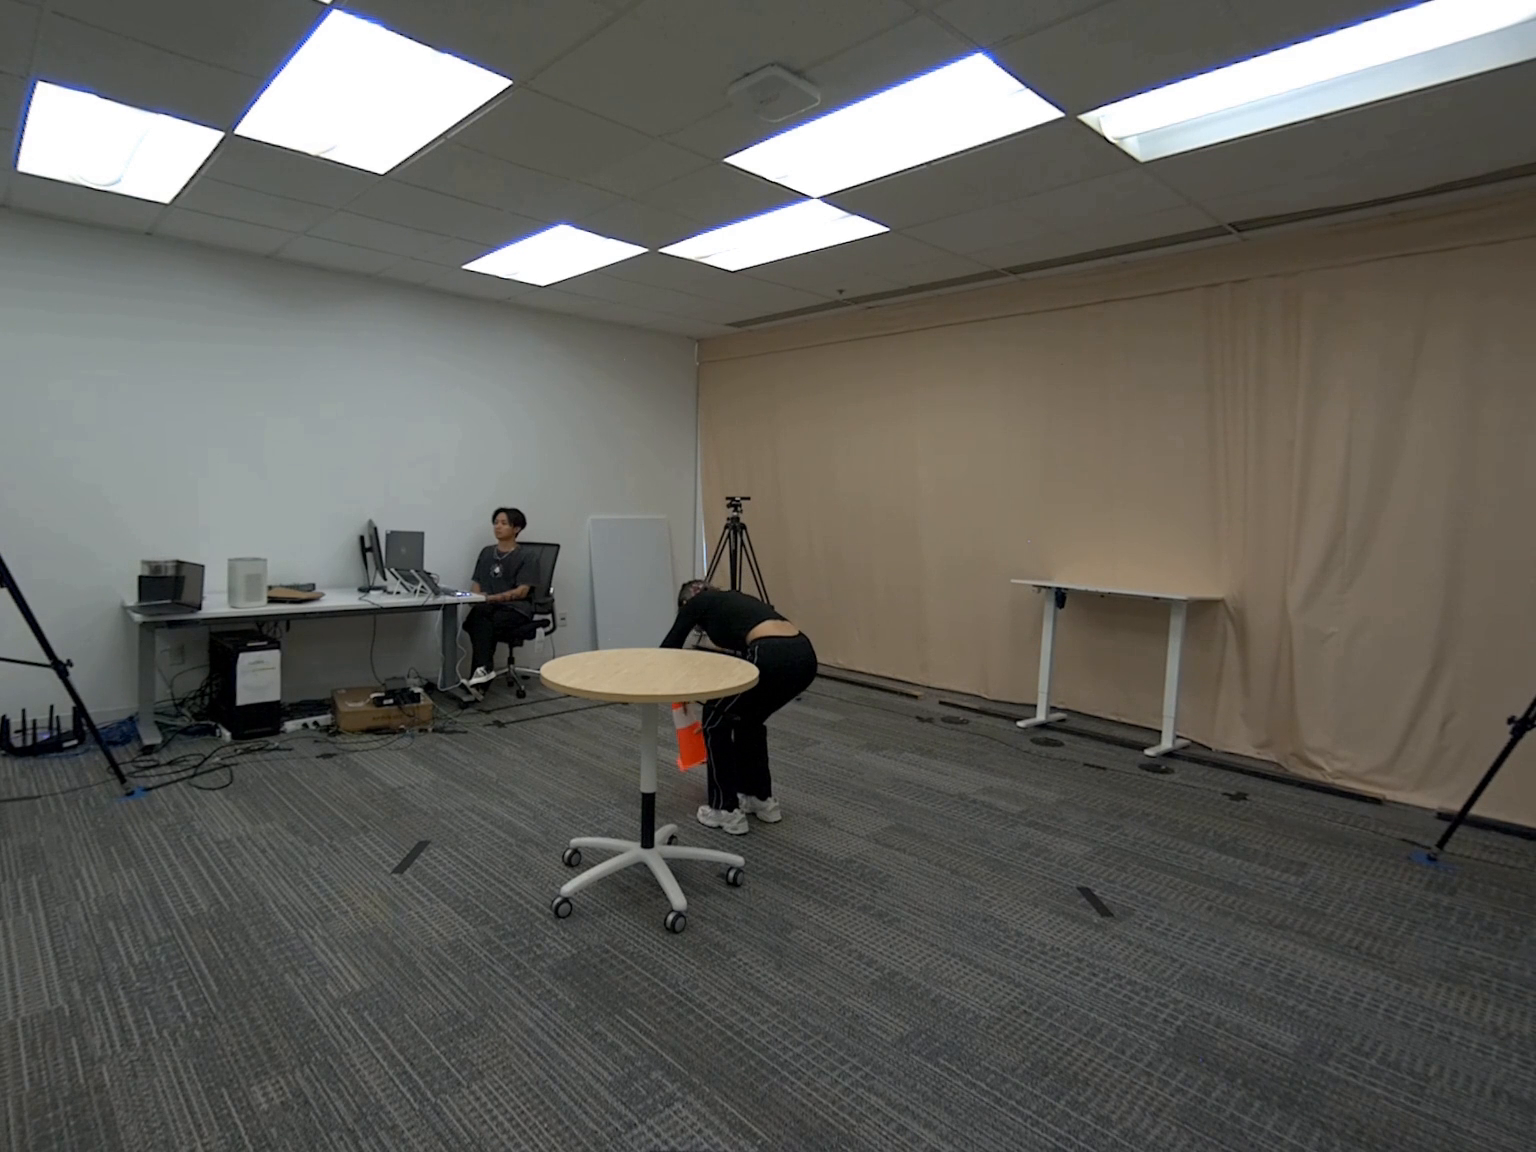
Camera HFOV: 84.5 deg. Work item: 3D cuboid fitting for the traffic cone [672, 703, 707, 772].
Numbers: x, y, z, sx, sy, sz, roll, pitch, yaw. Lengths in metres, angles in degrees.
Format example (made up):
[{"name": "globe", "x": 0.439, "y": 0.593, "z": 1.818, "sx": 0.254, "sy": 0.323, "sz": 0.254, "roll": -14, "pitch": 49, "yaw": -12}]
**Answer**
[{"name": "traffic cone", "x": -0.397, "y": 0.671, "z": 3.907, "sx": 0.202, "sy": 0.382, "sz": 0.207, "roll": -20, "pitch": 4, "yaw": -9}]
